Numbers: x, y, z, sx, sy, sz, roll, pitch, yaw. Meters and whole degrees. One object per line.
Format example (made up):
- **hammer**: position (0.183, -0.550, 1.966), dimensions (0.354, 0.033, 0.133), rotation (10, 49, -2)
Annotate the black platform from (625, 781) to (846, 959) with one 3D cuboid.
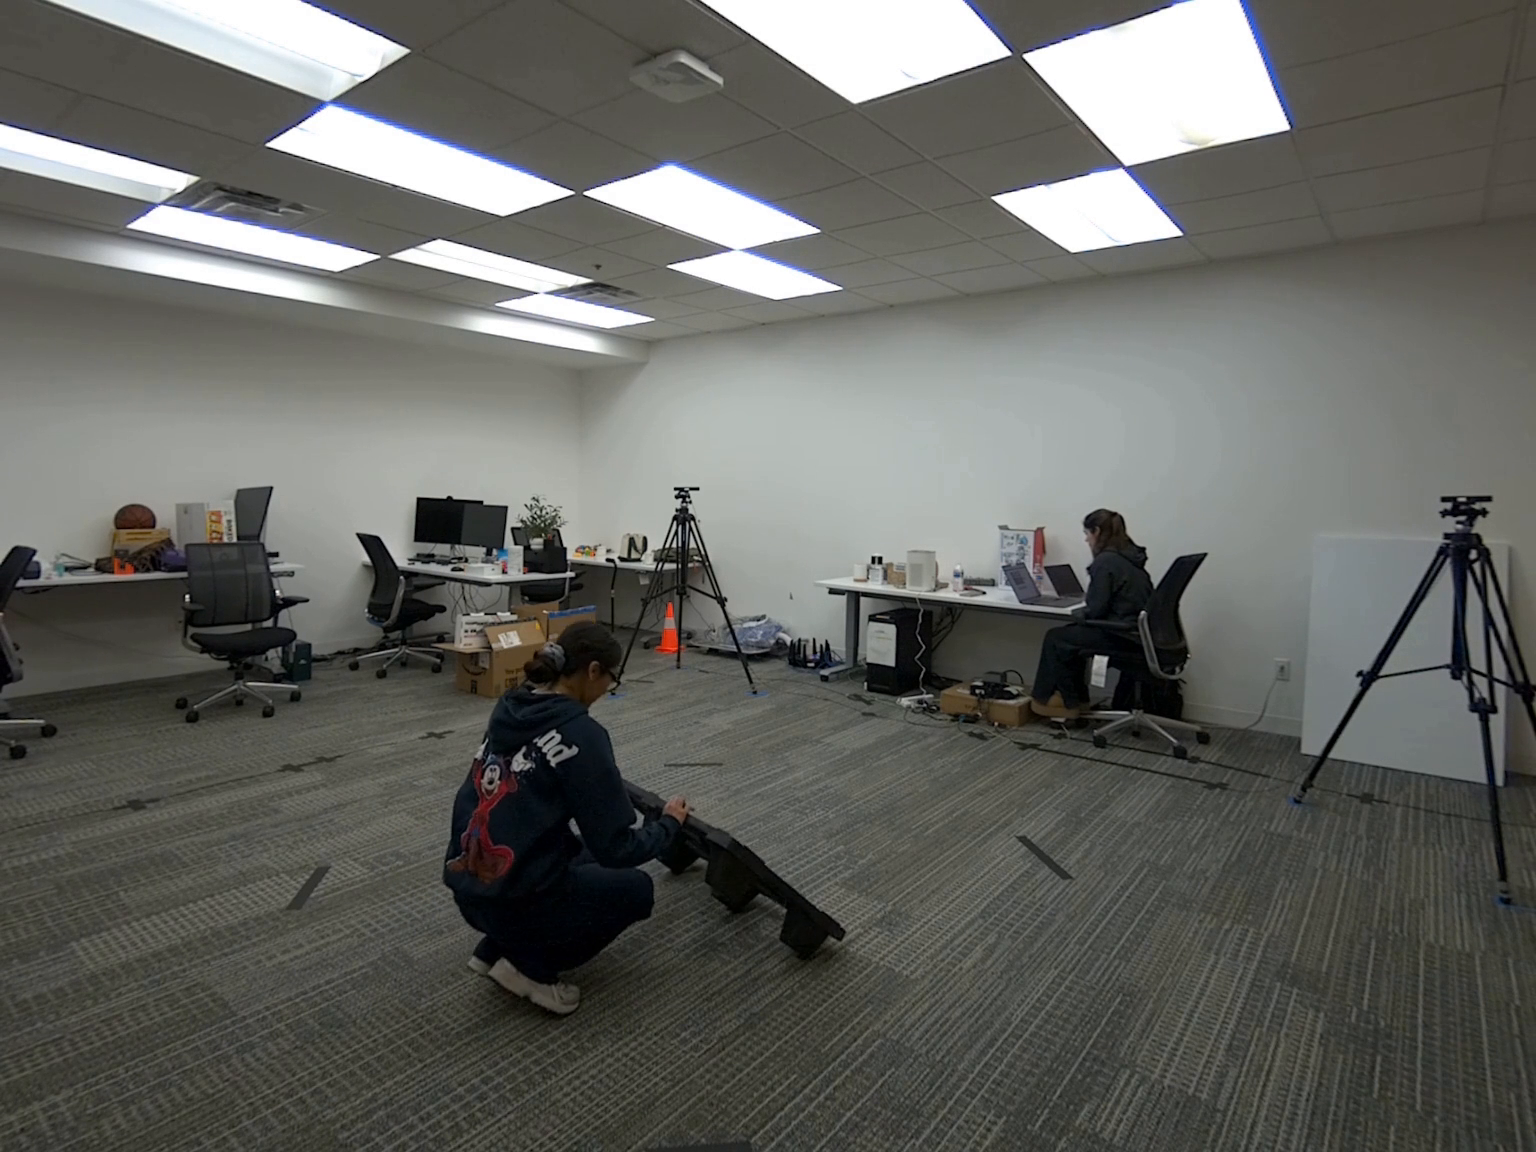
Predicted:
- **black platform**: position (-0.226, 0.901, 2.709), dimensions (0.833, 0.144, 0.584), rotation (8, -35, 52)
